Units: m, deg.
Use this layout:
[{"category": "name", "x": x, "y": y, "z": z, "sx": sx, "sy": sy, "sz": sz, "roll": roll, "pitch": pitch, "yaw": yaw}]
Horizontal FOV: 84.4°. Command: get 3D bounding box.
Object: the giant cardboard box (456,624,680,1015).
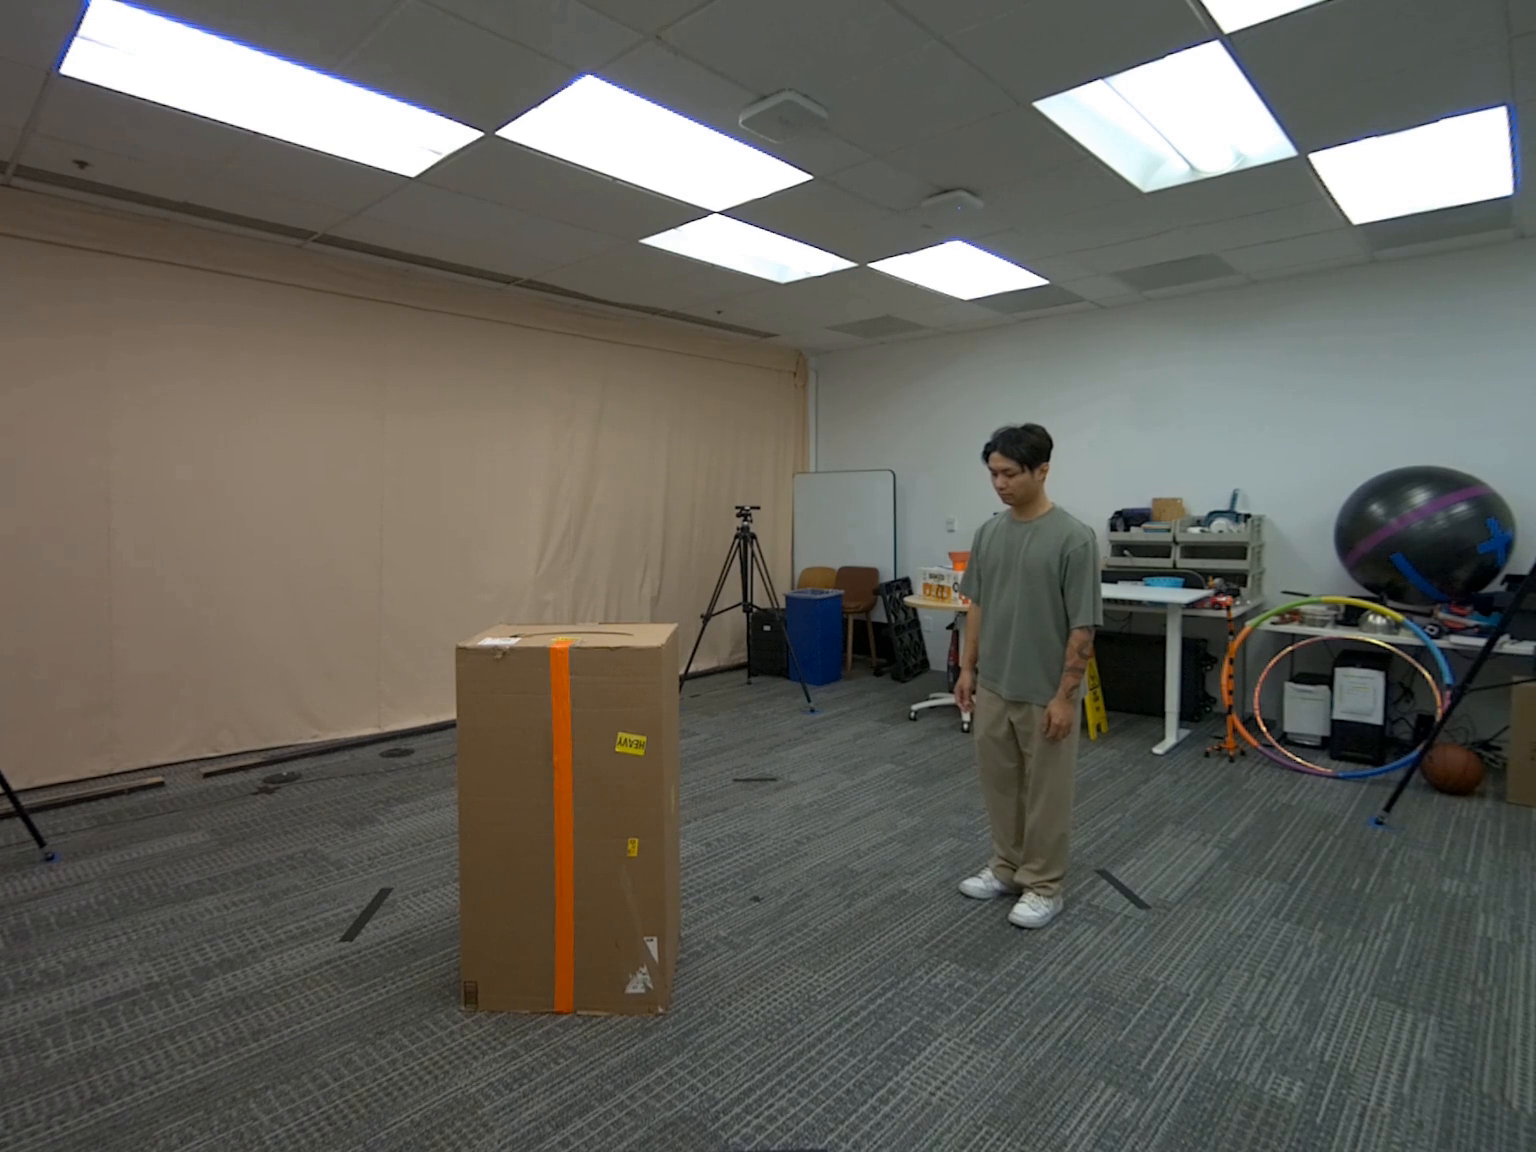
[{"category": "giant cardboard box", "x": -0.569, "y": 0.681, "z": 2.496, "sx": 0.580, "sy": 1.024, "sz": 0.425, "roll": 0, "pitch": 2, "yaw": 2}]
